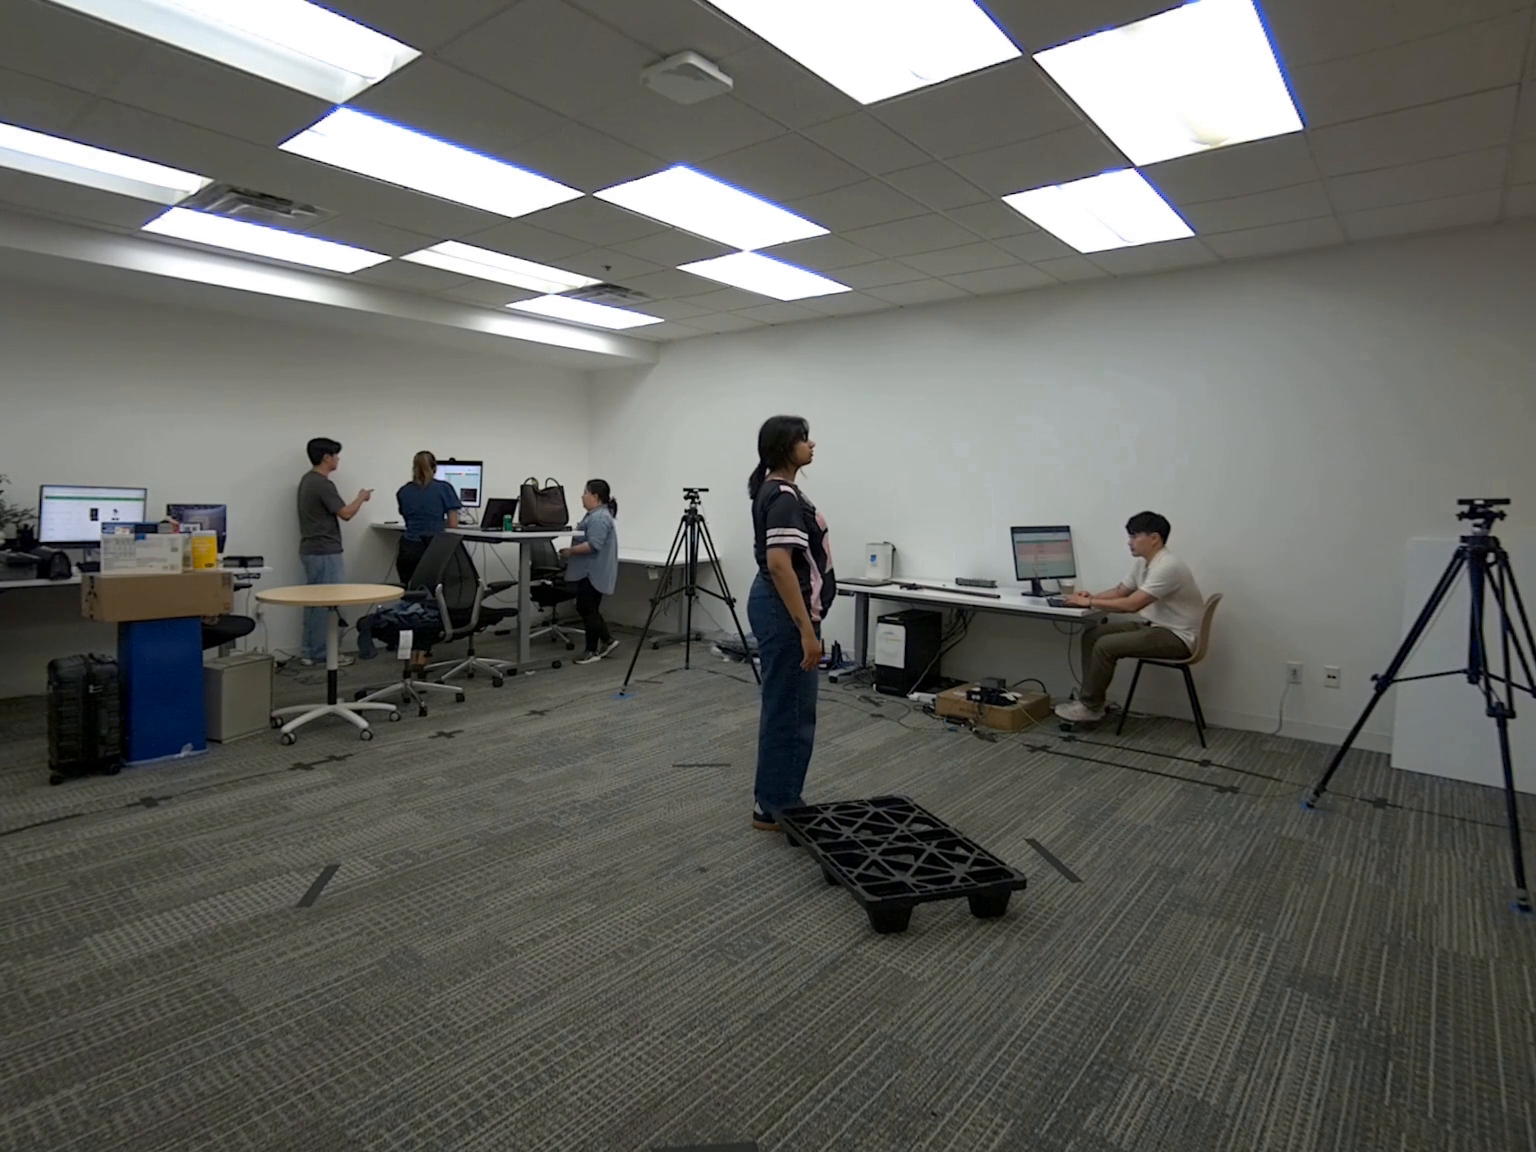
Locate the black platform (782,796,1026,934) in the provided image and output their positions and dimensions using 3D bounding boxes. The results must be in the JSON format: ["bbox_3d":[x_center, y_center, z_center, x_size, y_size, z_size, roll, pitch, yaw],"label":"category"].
[{"bbox_3d":[0.428,1.017,3.086,0.593,0.143,0.825,-1,5,-20],"label":"black platform"}]
